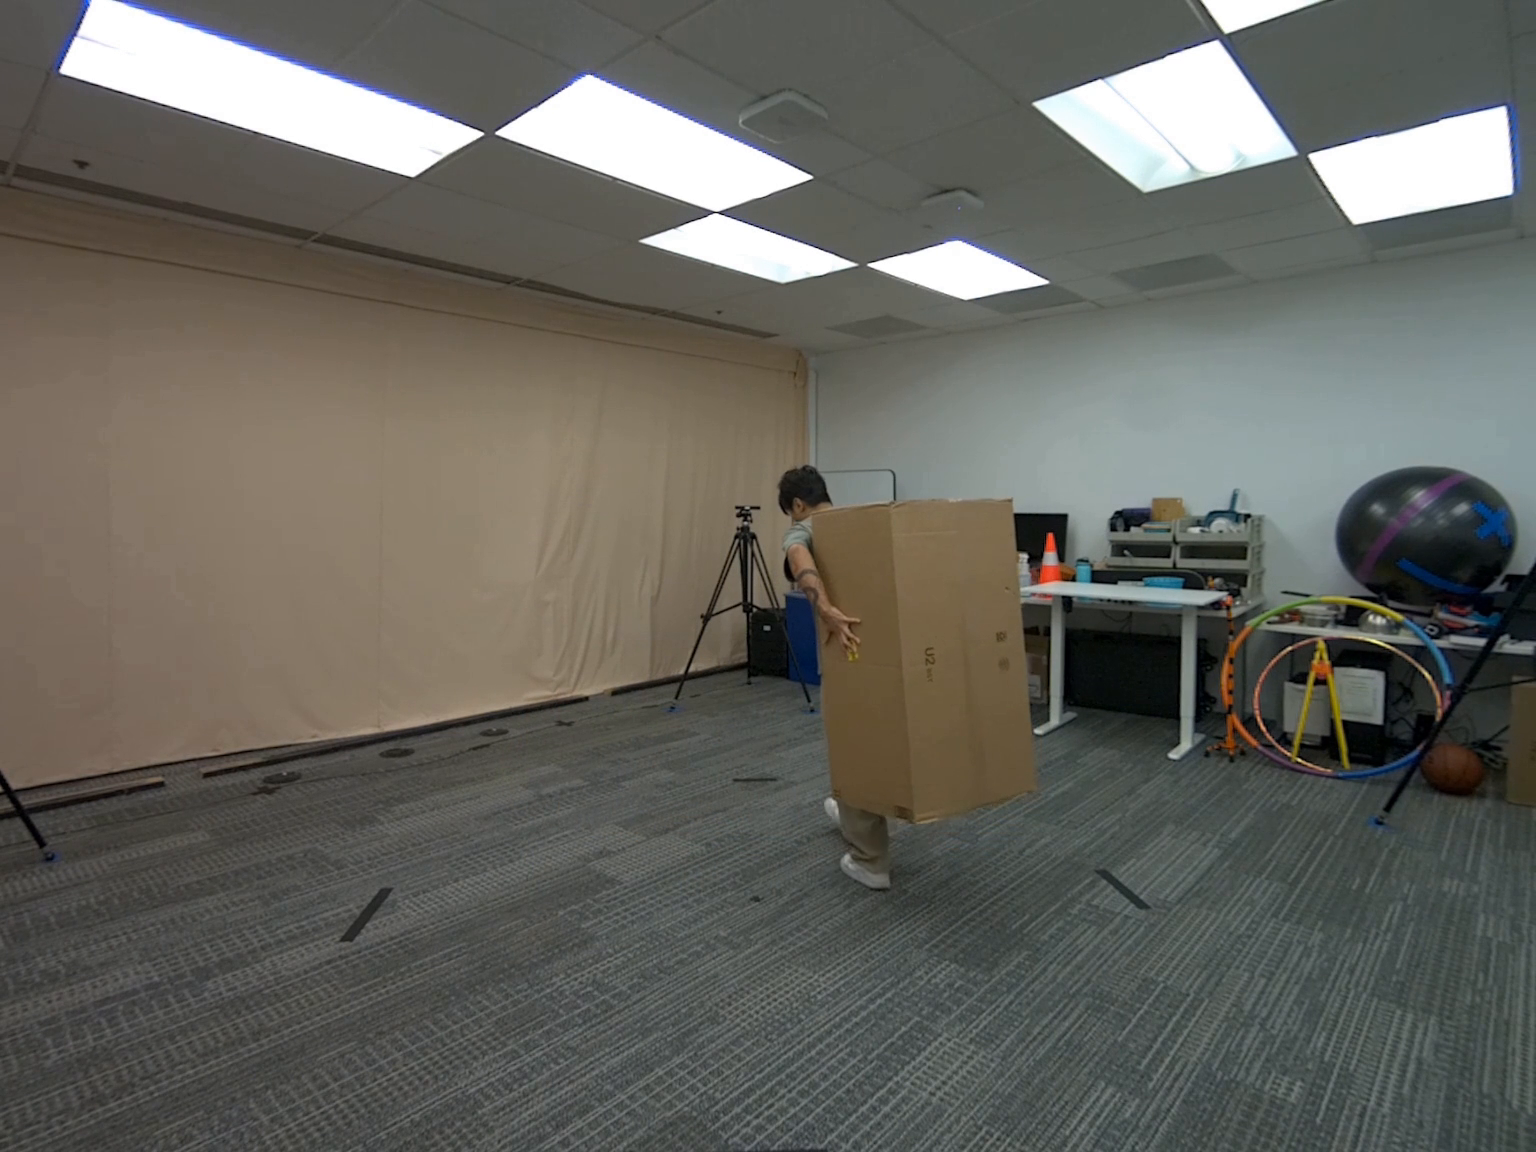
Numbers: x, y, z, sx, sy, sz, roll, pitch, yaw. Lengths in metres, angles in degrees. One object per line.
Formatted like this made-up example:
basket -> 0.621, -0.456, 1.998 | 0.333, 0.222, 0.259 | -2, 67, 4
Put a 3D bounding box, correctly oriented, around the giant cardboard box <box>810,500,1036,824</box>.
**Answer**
giant cardboard box -> 0.551, 0.264, 2.963 | 0.562, 1.027, 0.438 | -4, -1, -32
